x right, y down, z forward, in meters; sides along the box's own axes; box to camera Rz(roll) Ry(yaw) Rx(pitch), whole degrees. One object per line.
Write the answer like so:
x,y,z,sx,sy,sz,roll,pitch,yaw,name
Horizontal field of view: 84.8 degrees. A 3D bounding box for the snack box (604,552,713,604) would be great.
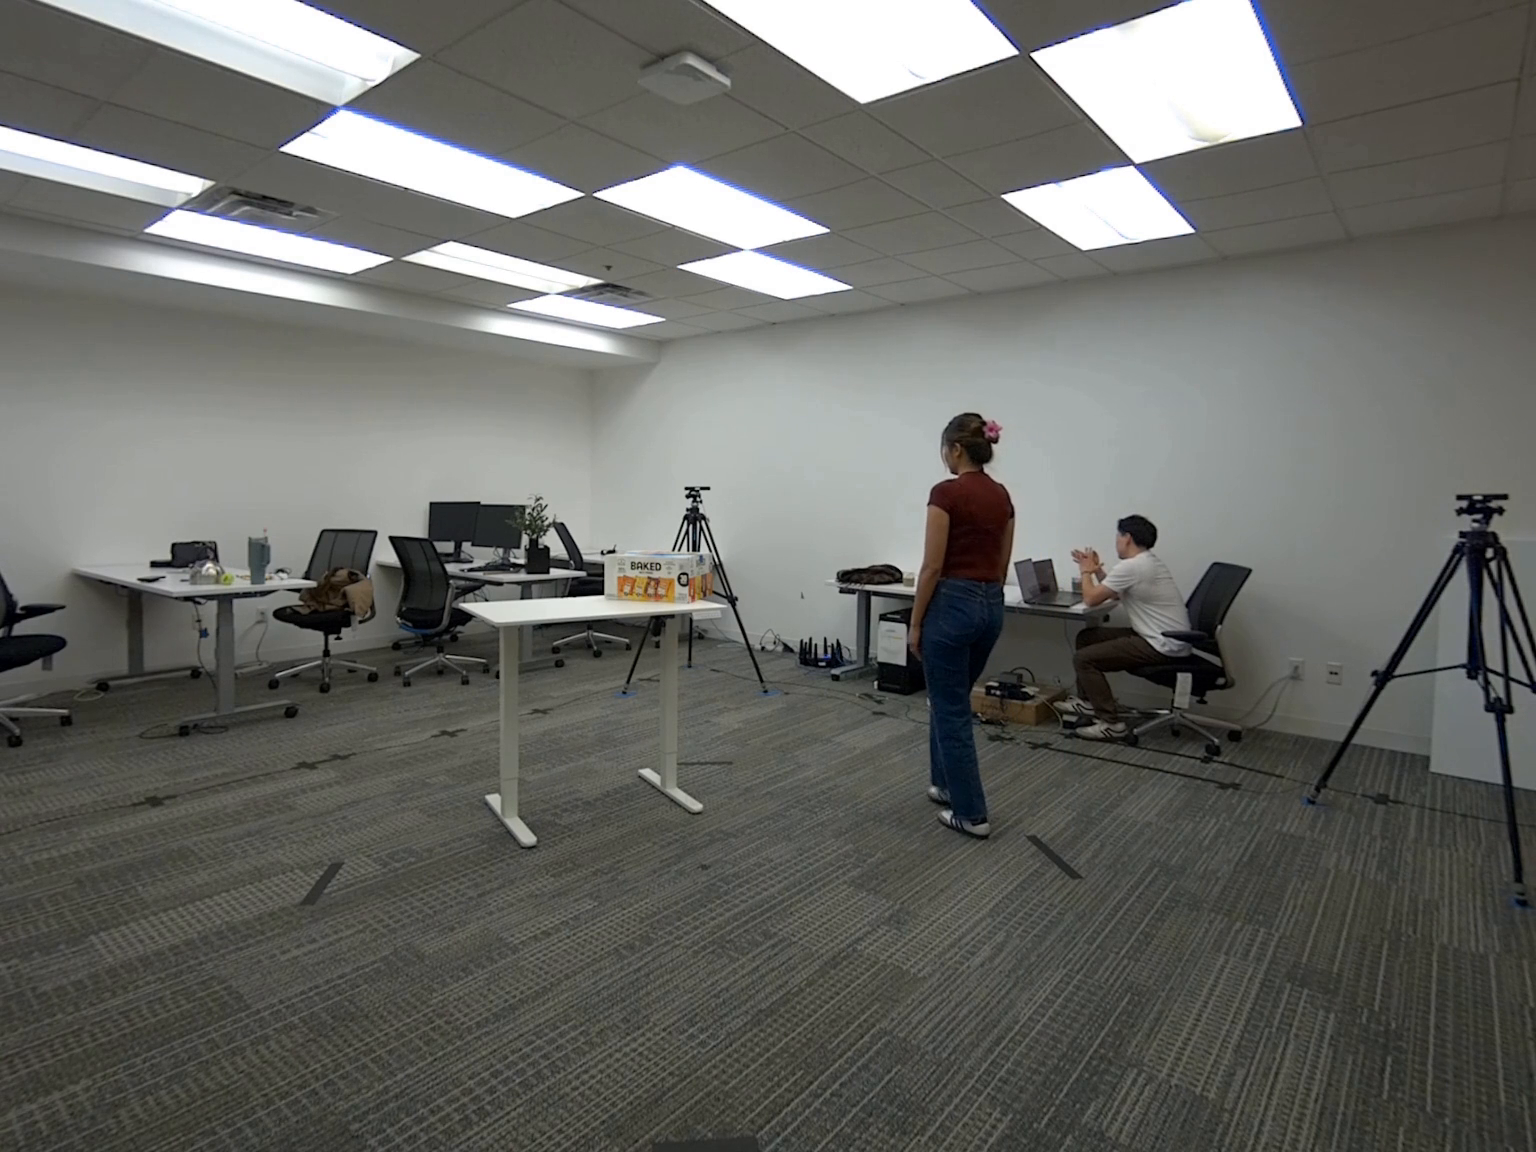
-0.517,-0.005,3.958,0.413,0.205,0.335,2,5,16,snack box
